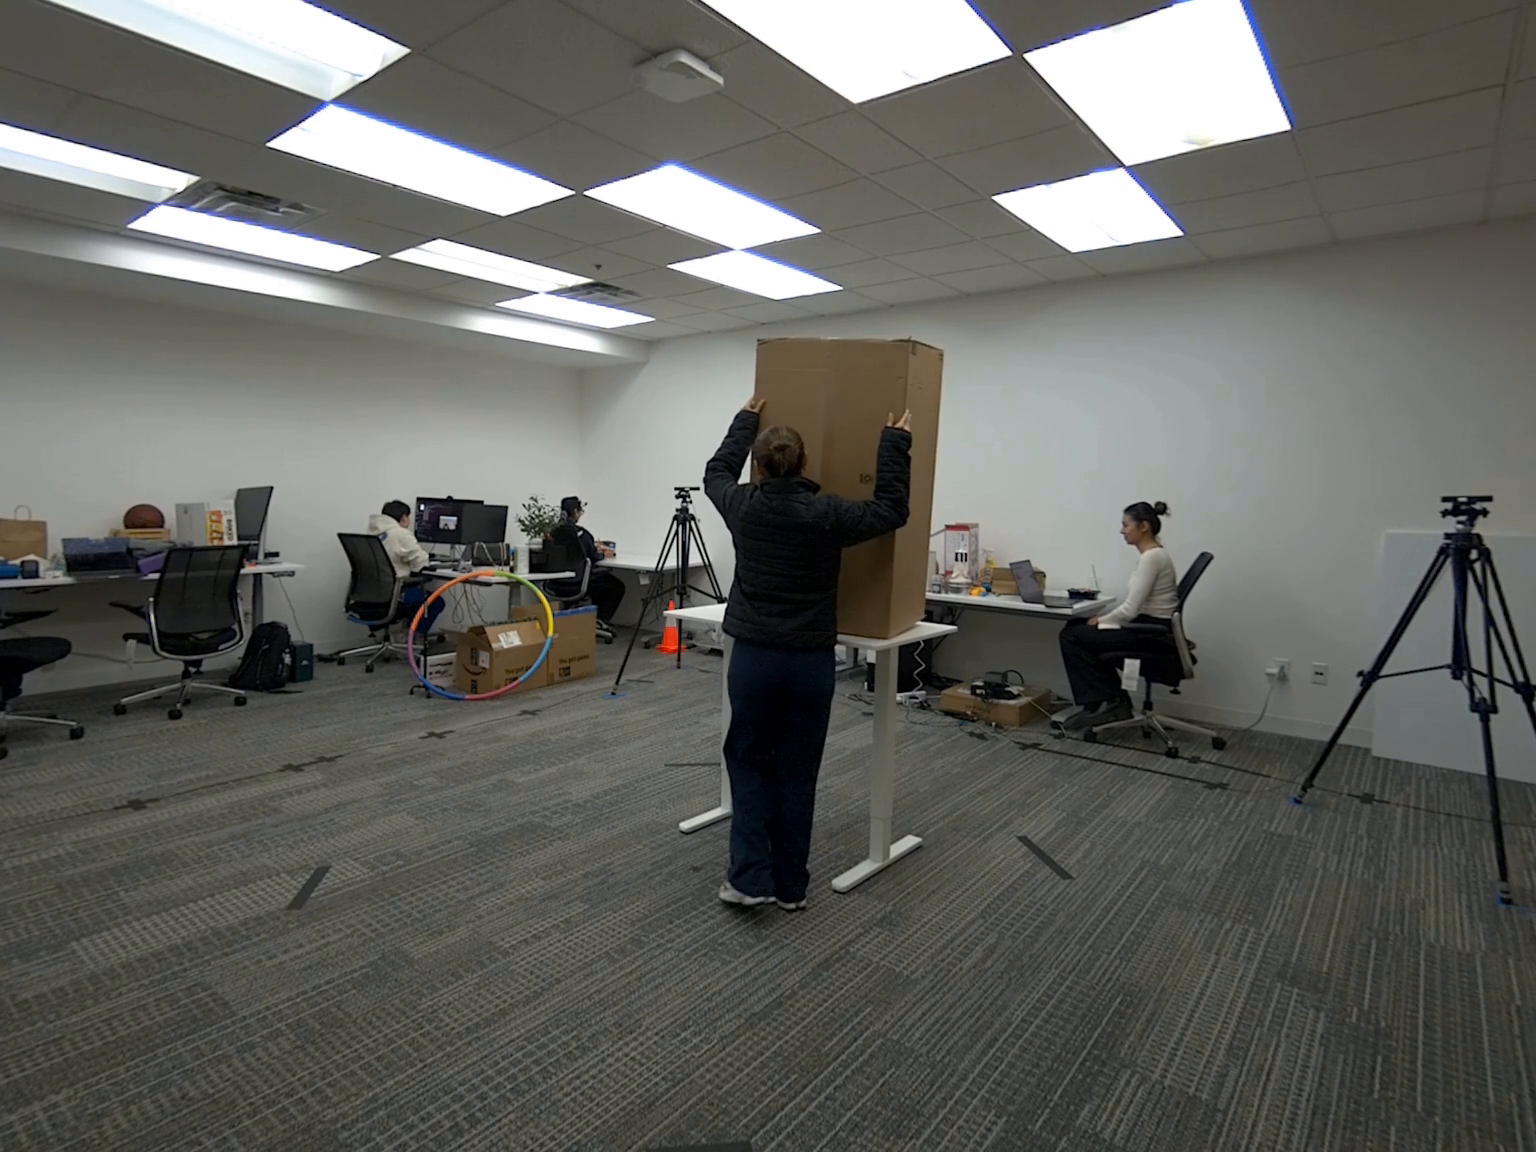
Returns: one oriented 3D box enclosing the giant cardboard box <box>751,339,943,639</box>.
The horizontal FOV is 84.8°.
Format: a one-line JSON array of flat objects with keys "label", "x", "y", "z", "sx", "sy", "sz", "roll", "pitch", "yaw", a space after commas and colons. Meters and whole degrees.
[{"label": "giant cardboard box", "x": 0.298, "y": -0.346, "z": 3.183, "sx": 0.602, "sy": 1.020, "sz": 0.436, "roll": 8, "pitch": 8, "yaw": 30}]
